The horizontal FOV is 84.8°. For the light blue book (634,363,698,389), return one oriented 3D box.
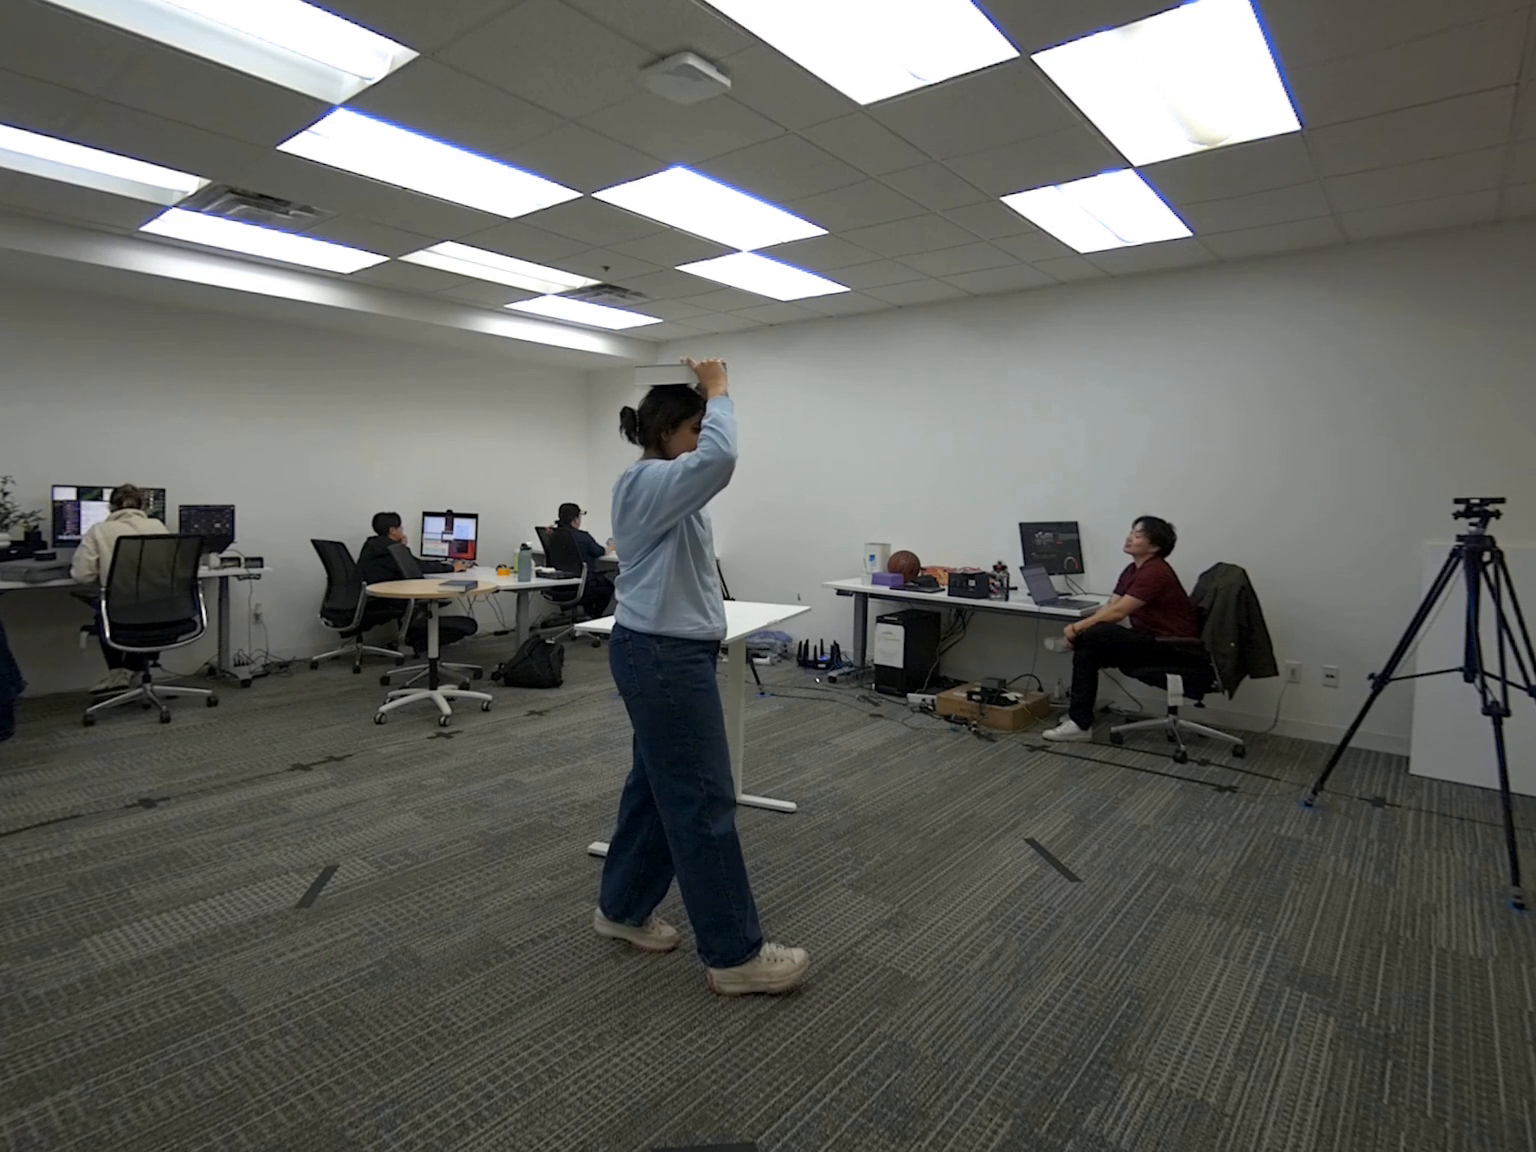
[{"bbox_3d":[-0.253,-0.585,2.466,0.261,0.058,0.192,-2,9,1],"label":"light blue book"}]
